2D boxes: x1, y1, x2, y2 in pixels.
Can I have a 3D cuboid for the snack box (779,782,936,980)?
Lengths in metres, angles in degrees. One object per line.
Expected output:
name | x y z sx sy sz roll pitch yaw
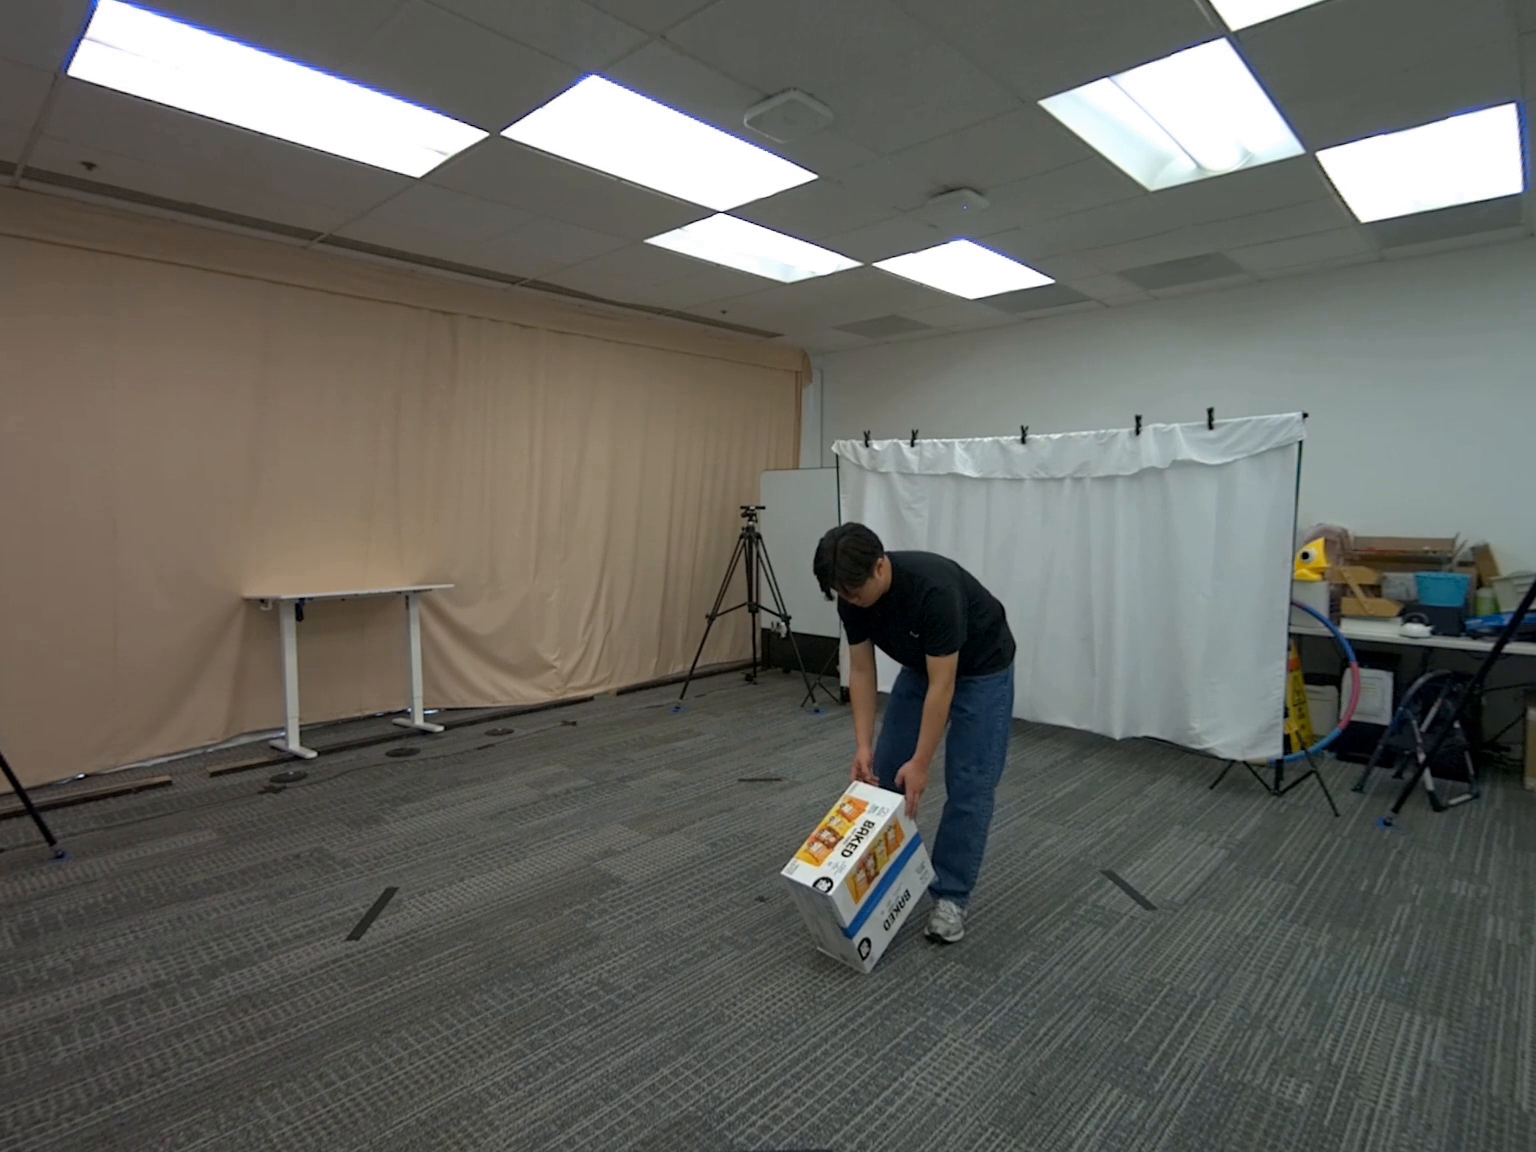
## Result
snack box | 0.293 0.926 2.613 0.212 0.333 0.400 3 35 48
